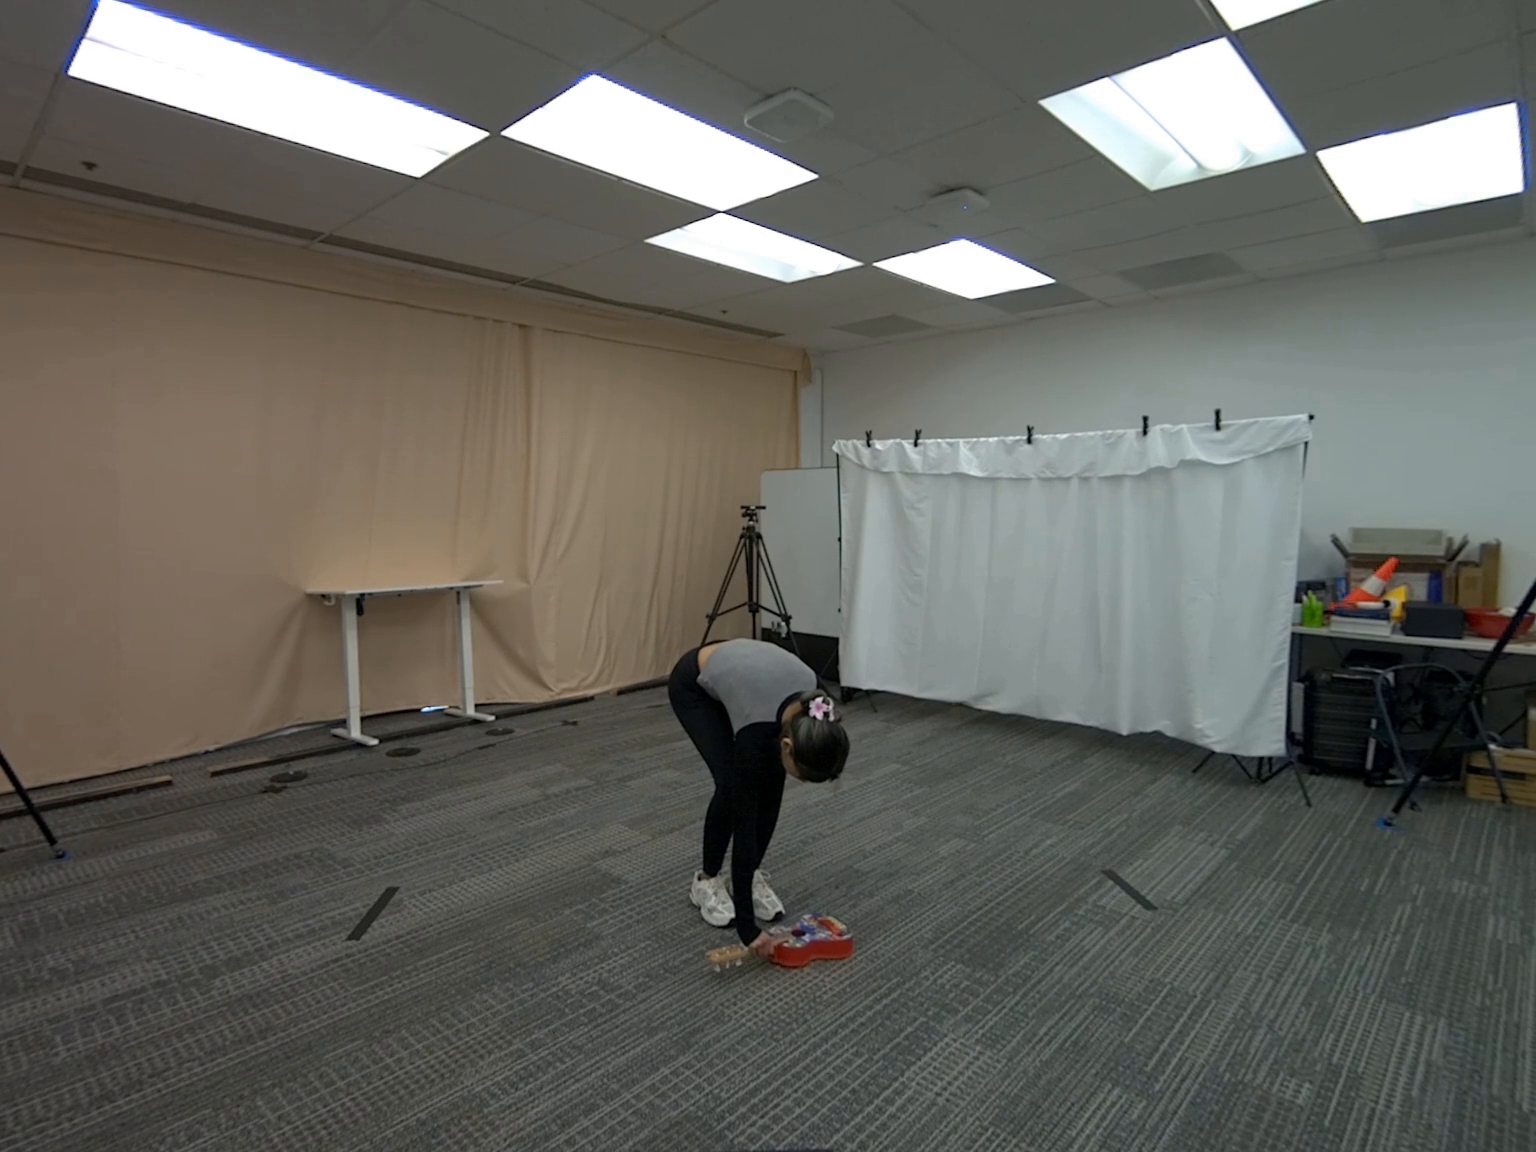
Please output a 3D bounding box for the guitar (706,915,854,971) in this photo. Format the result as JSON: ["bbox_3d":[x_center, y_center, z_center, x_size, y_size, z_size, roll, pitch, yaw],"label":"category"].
[{"bbox_3d":[0.022,1.130,2.599,0.487,0.070,0.197,1,4,-22],"label":"guitar"}]
